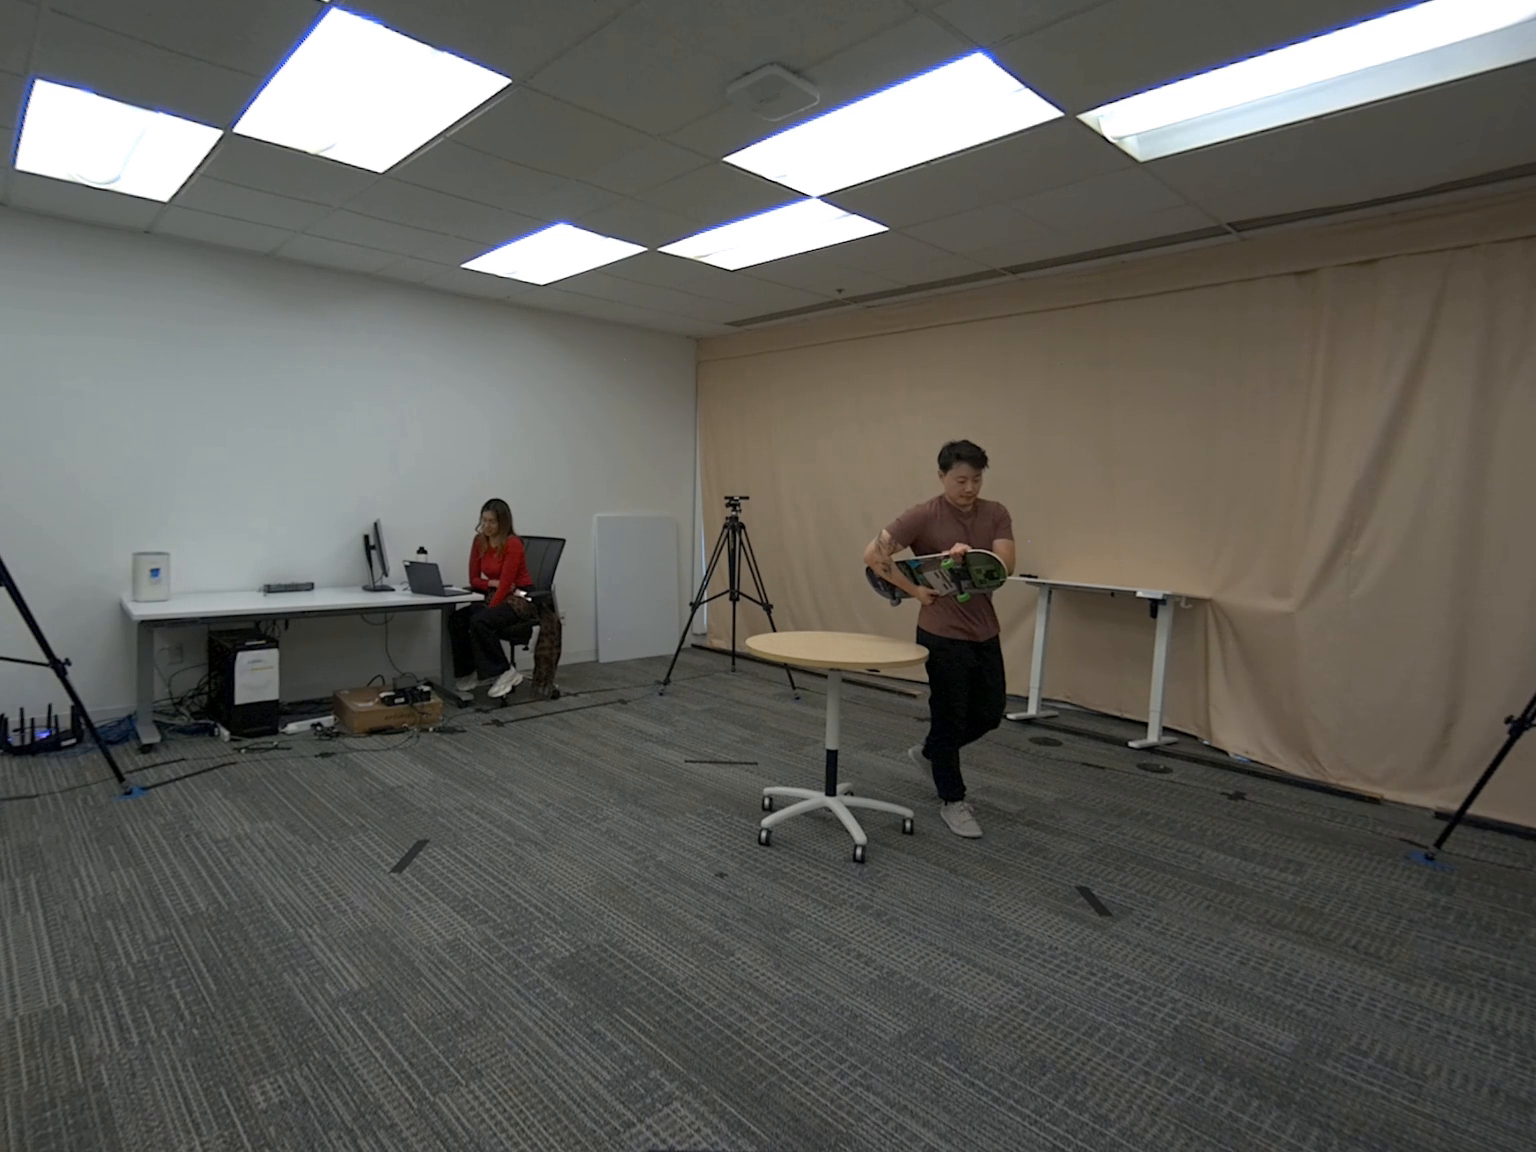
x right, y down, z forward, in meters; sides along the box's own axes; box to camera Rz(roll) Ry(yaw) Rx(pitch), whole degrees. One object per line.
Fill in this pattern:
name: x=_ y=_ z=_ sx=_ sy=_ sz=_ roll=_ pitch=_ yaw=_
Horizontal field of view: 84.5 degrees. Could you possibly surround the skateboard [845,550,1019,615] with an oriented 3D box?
skateboard: x=0.662 y=0.030 z=3.573 sx=0.110 sy=0.191 sz=0.799 roll=-36 pitch=15 yaw=-32
